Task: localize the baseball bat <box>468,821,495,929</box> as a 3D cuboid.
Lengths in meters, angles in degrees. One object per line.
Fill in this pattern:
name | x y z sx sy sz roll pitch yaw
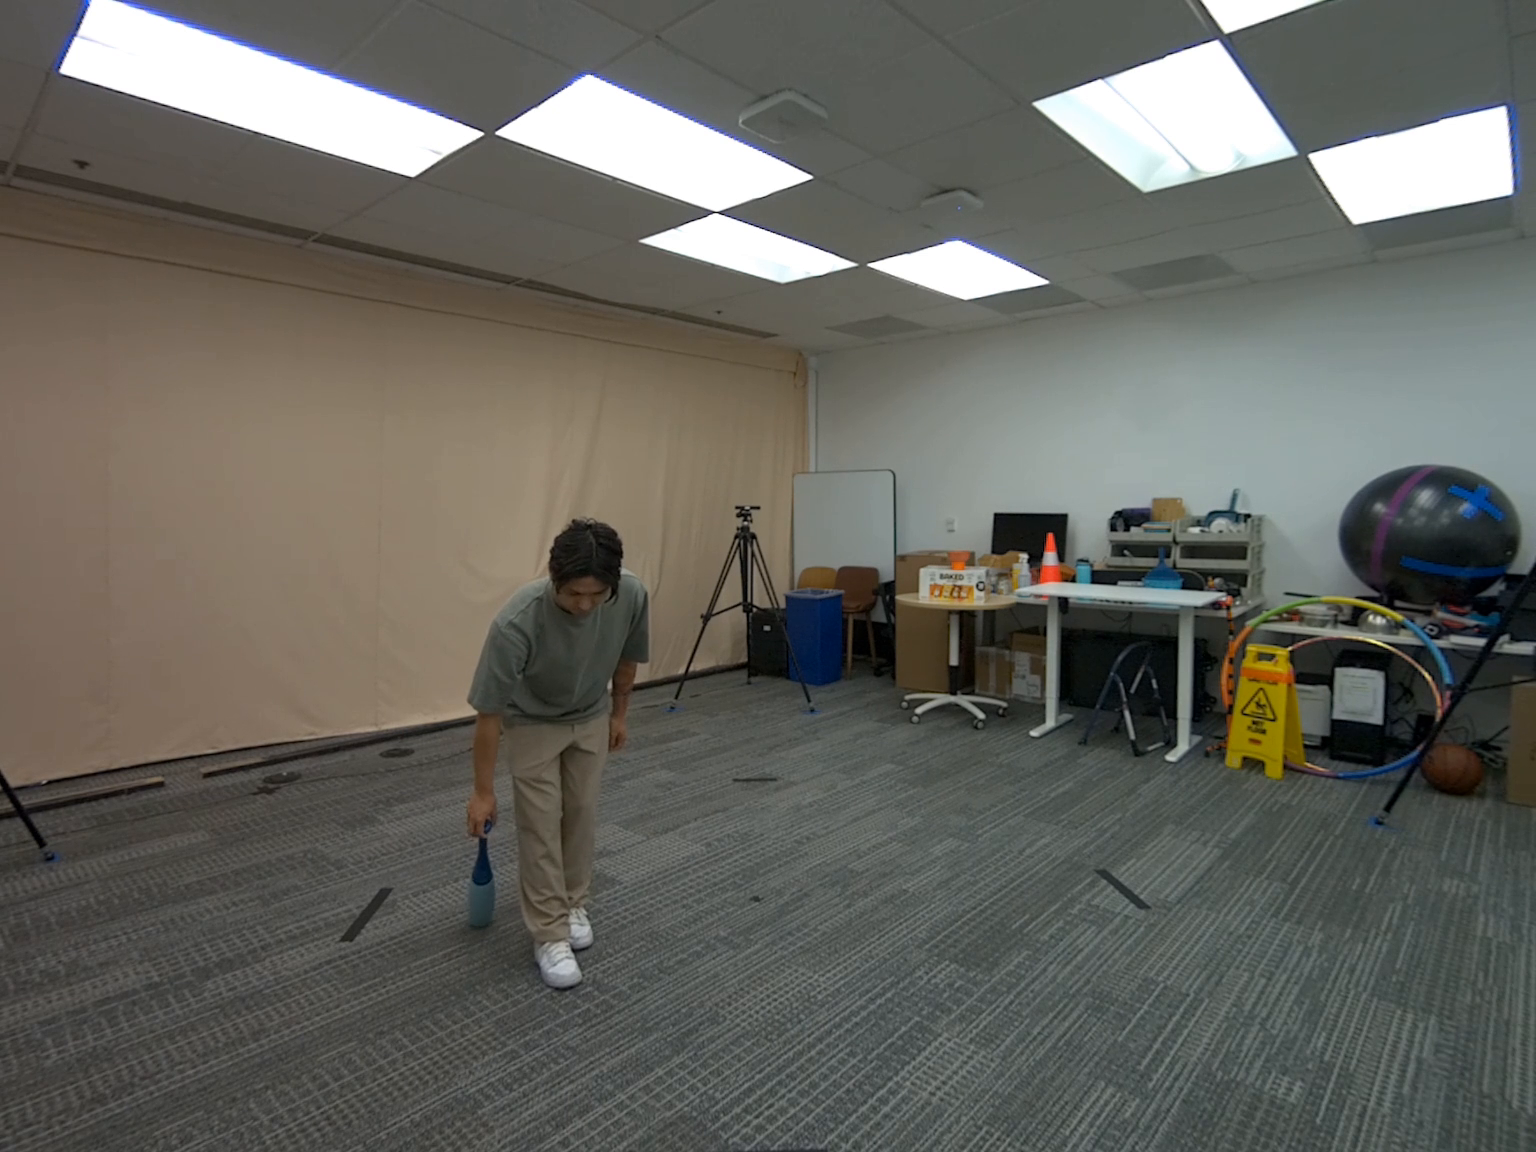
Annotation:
baseball bat | -0.912 0.950 2.675 0.088 0.538 0.091 10 37 -9
